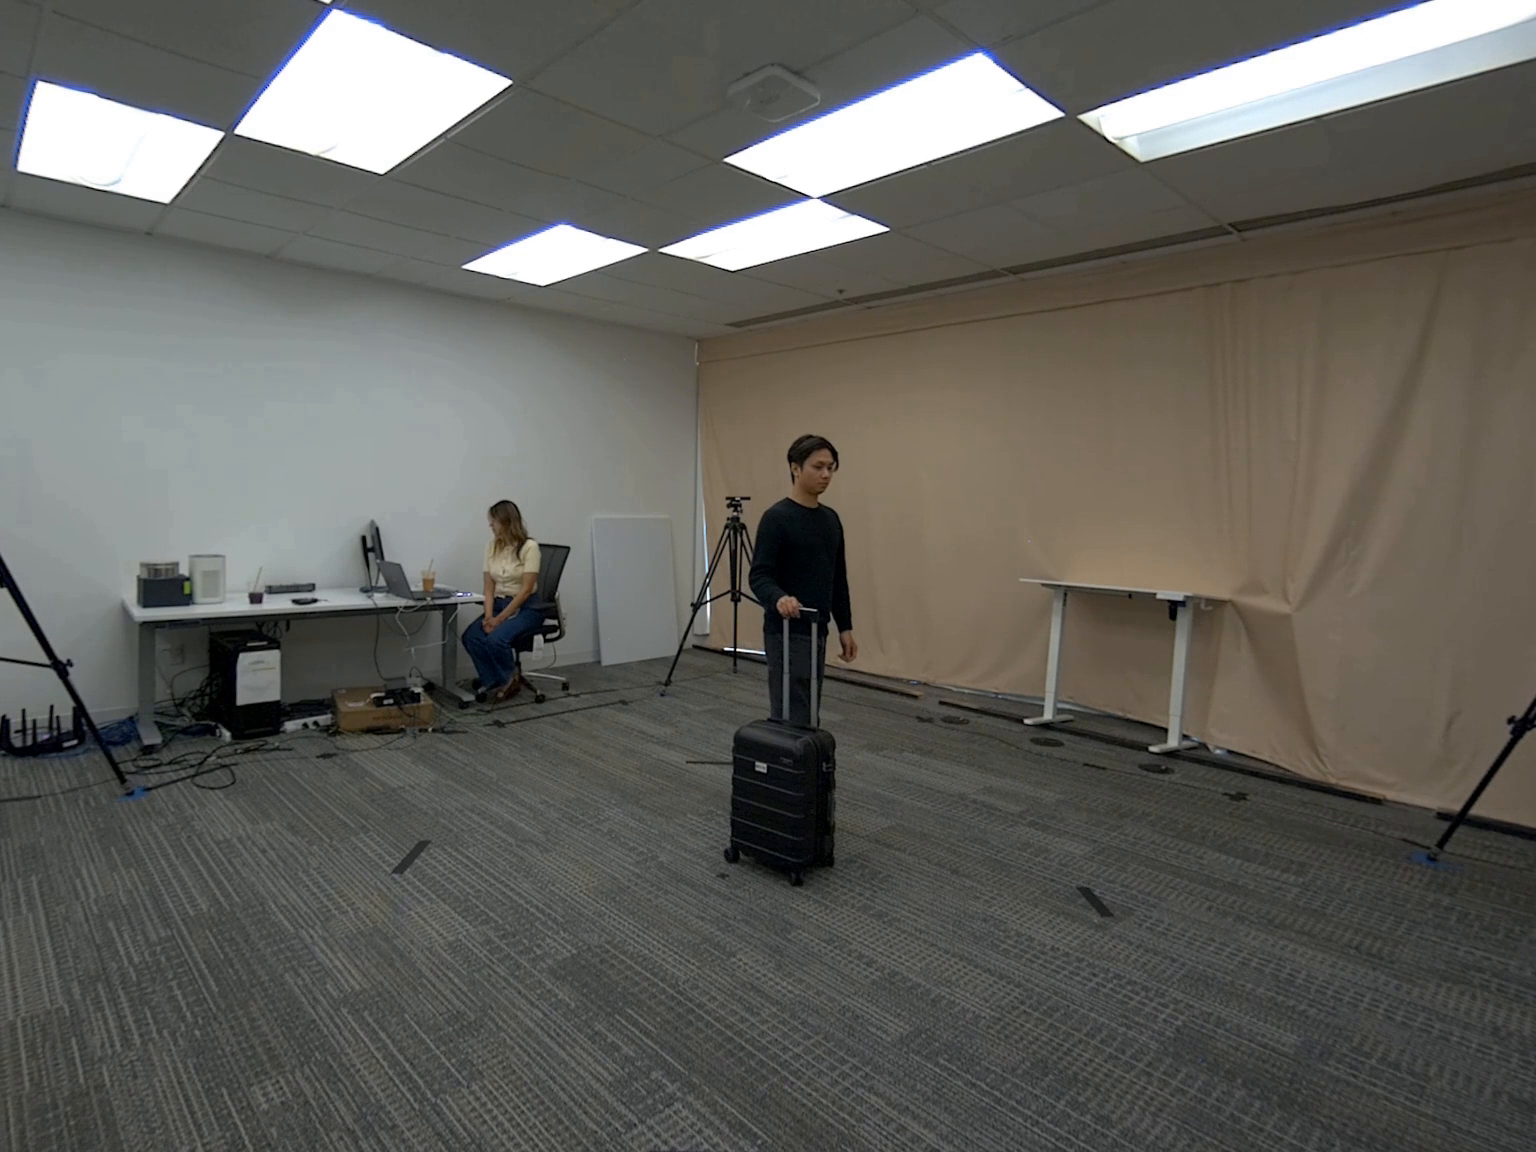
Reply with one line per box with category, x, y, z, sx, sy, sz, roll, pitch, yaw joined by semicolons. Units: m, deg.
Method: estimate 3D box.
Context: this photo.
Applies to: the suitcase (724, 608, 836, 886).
suitcase;0.045;0.629;3.158;0.394;0.974;0.252;6;8;39
